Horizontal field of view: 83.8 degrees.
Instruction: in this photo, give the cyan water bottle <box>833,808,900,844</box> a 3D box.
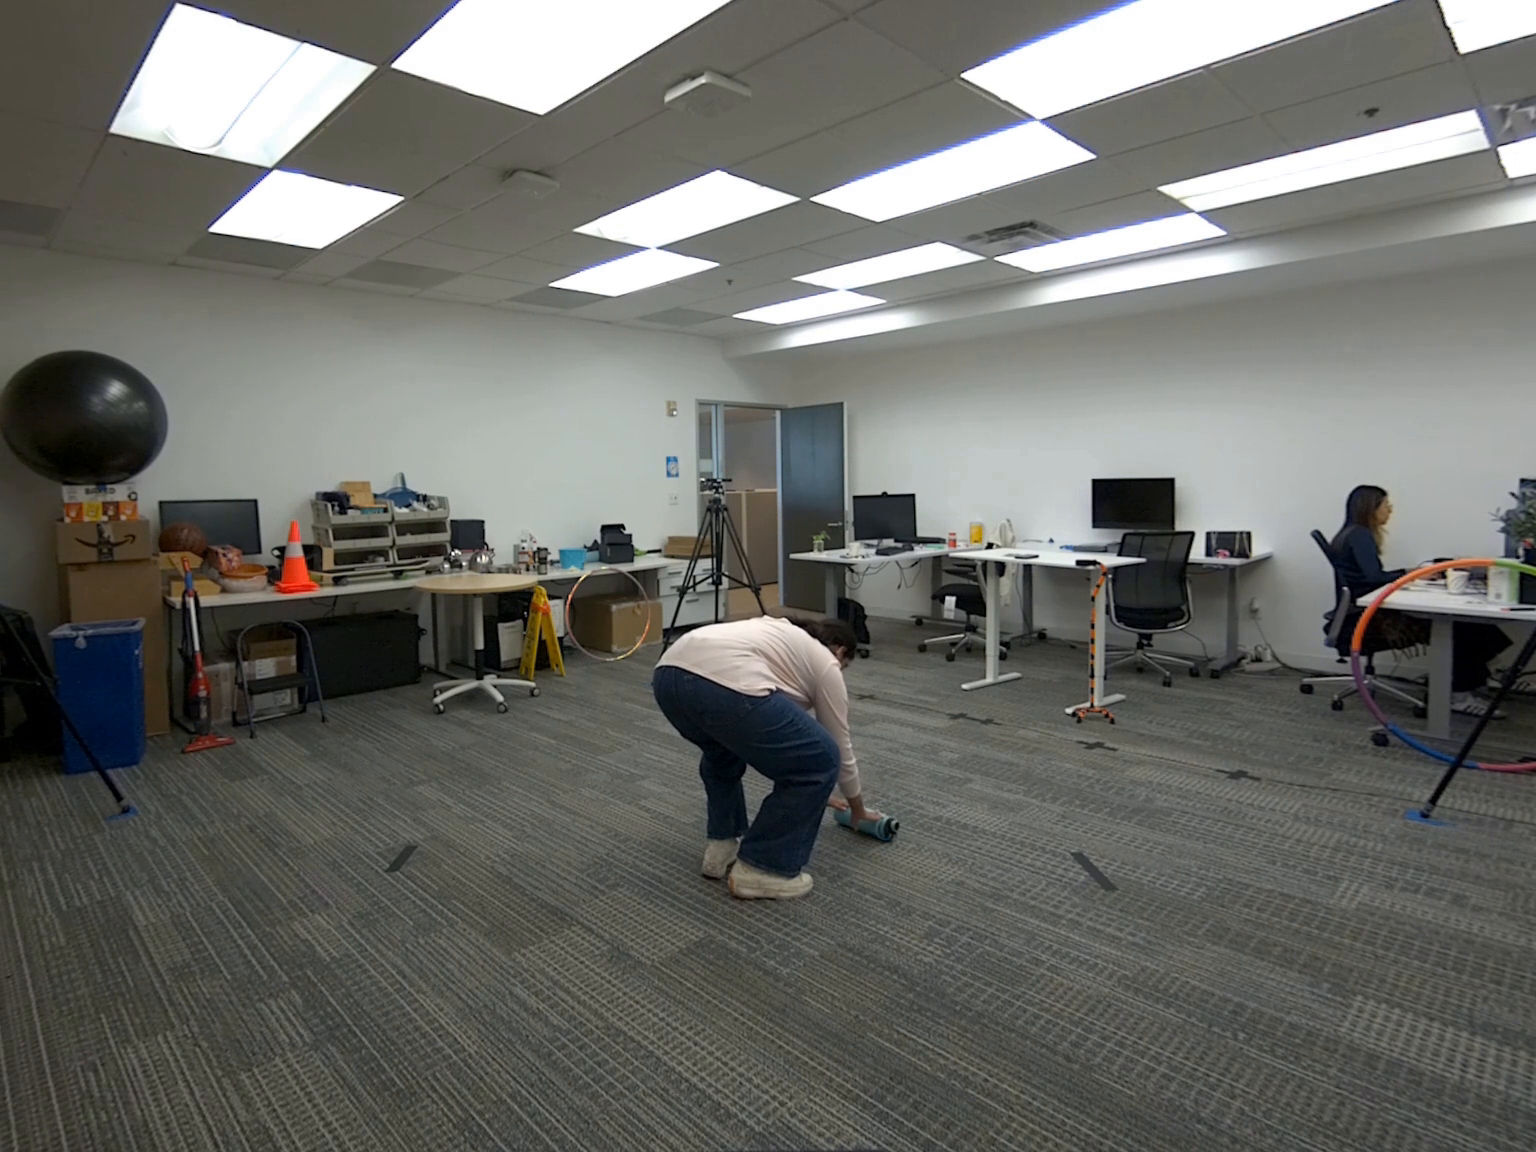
[{"bbox_3d":[0.386,0.957,3.358,0.090,0.092,0.292,-5,8,-42],"label":"cyan water bottle"}]
